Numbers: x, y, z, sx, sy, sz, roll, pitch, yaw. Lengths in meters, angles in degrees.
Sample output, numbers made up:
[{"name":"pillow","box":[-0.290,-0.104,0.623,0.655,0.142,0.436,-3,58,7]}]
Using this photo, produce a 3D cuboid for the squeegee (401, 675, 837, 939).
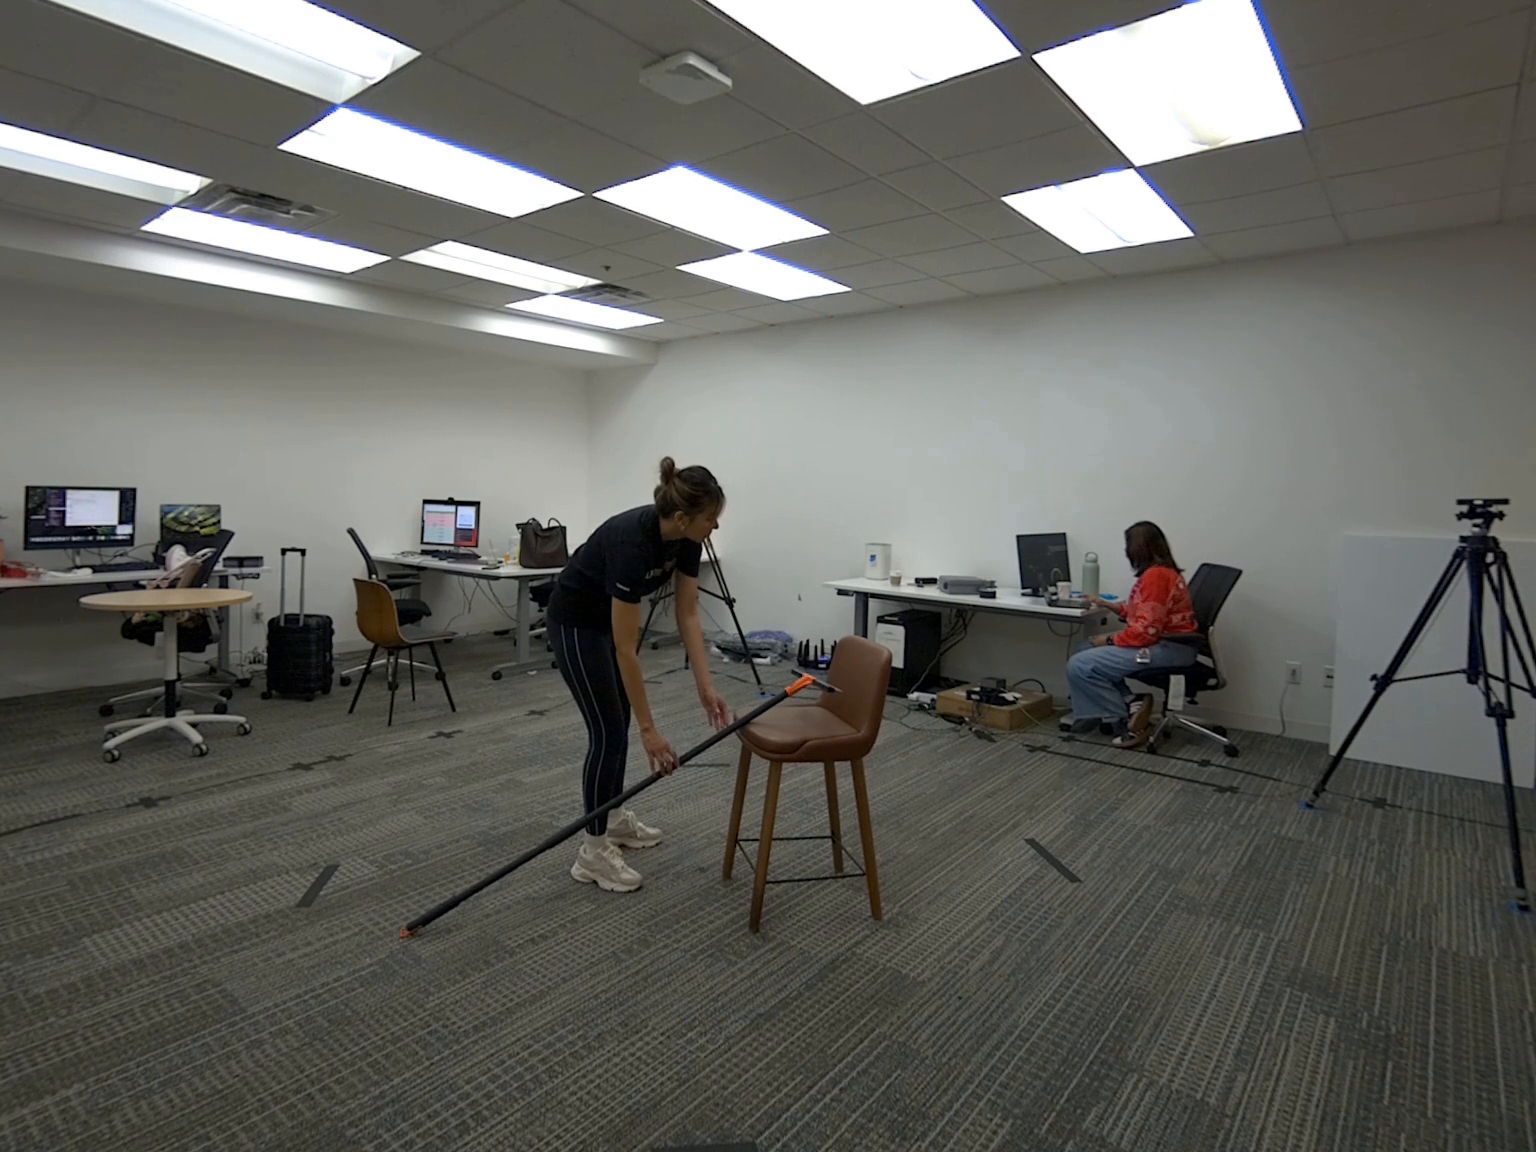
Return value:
[{"name":"squeegee","box":[-0.482,0.724,2.732,1.530,0.425,0.055,-30,23,-10]}]
